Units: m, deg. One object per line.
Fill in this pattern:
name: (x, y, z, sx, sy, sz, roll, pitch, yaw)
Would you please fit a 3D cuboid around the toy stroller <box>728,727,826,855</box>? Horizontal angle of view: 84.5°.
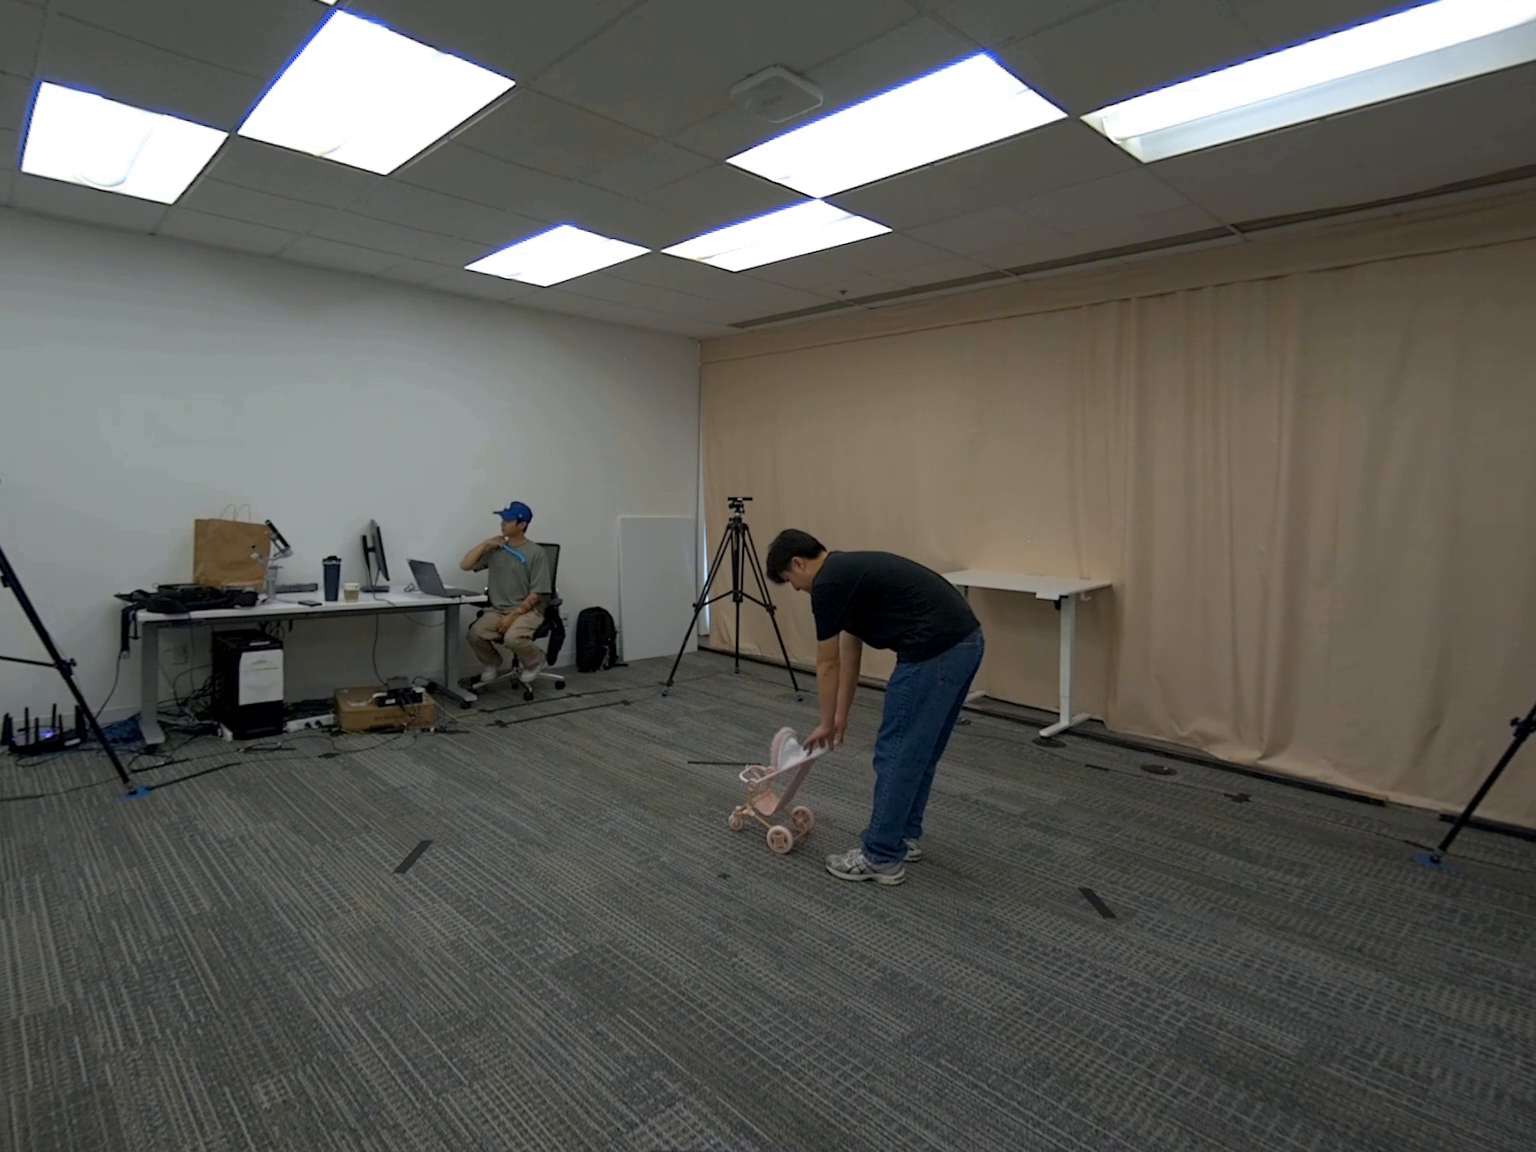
toy stroller: (0.039, 0.855, 3.452, 0.350, 0.532, 0.276, 21, 12, 28)
